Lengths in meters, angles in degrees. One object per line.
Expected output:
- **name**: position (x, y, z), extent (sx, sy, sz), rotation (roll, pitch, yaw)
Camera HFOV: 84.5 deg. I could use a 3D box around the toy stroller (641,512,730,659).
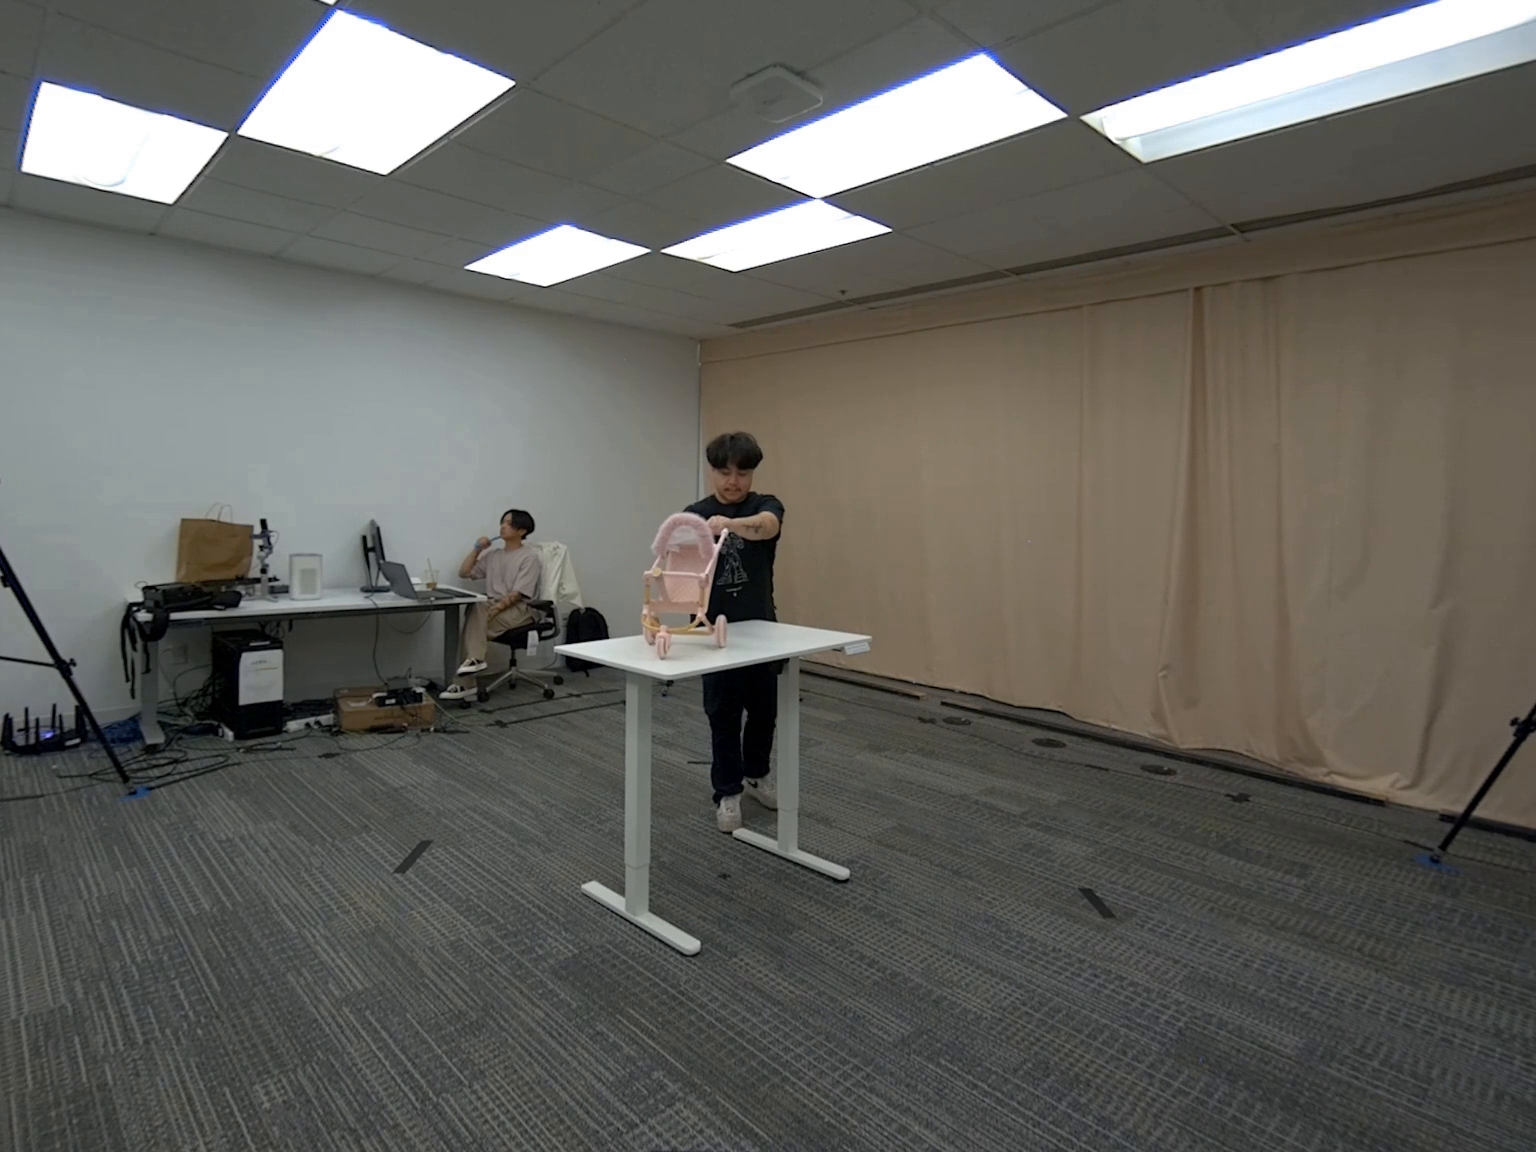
- **toy stroller**: position (-0.301, 0.026, 2.839), extent (0.285, 0.540, 0.334), rotation (2, -14, 15)
